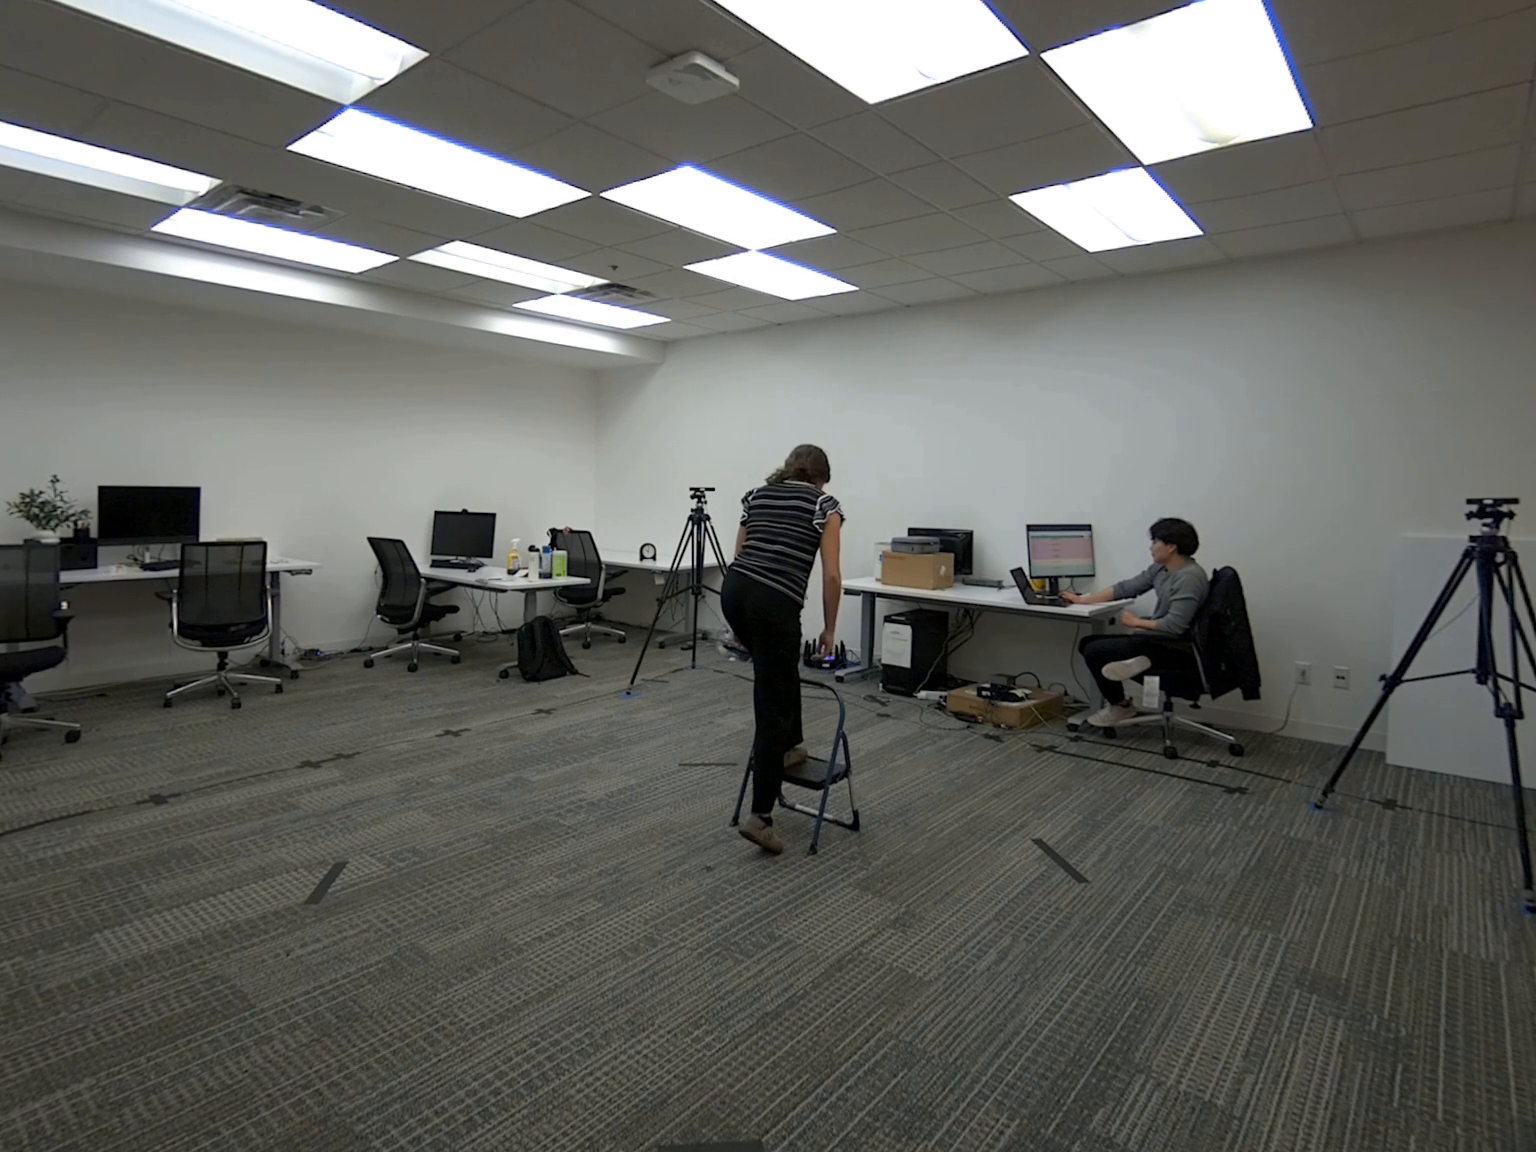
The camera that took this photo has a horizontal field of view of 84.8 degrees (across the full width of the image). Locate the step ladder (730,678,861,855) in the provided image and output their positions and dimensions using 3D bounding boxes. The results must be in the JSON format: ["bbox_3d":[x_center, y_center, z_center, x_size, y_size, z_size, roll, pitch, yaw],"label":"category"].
[{"bbox_3d":[0.112,0.736,3.493,0.445,0.604,0.339,5,6,39],"label":"step ladder"}]
